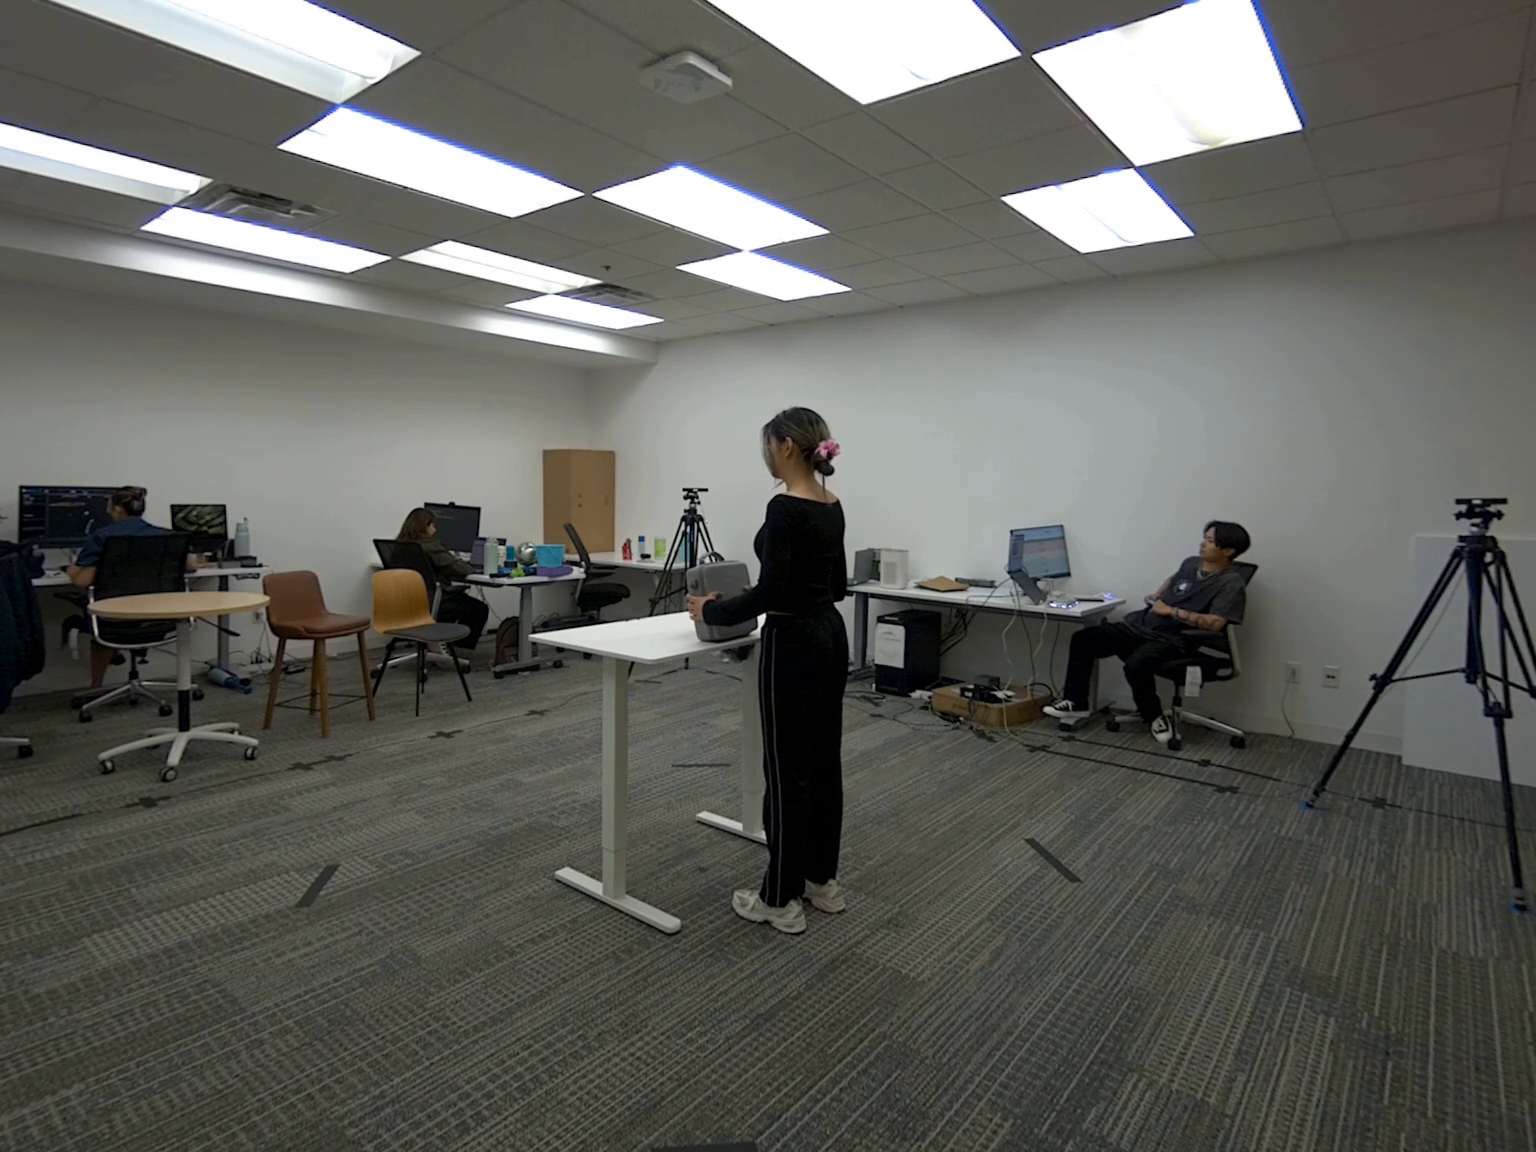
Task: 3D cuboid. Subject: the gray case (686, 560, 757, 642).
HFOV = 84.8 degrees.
[{"bbox_3d":[-0.165,0.076,2.901,0.107,0.262,0.250,-13,-5,34],"label":"gray case"}]
